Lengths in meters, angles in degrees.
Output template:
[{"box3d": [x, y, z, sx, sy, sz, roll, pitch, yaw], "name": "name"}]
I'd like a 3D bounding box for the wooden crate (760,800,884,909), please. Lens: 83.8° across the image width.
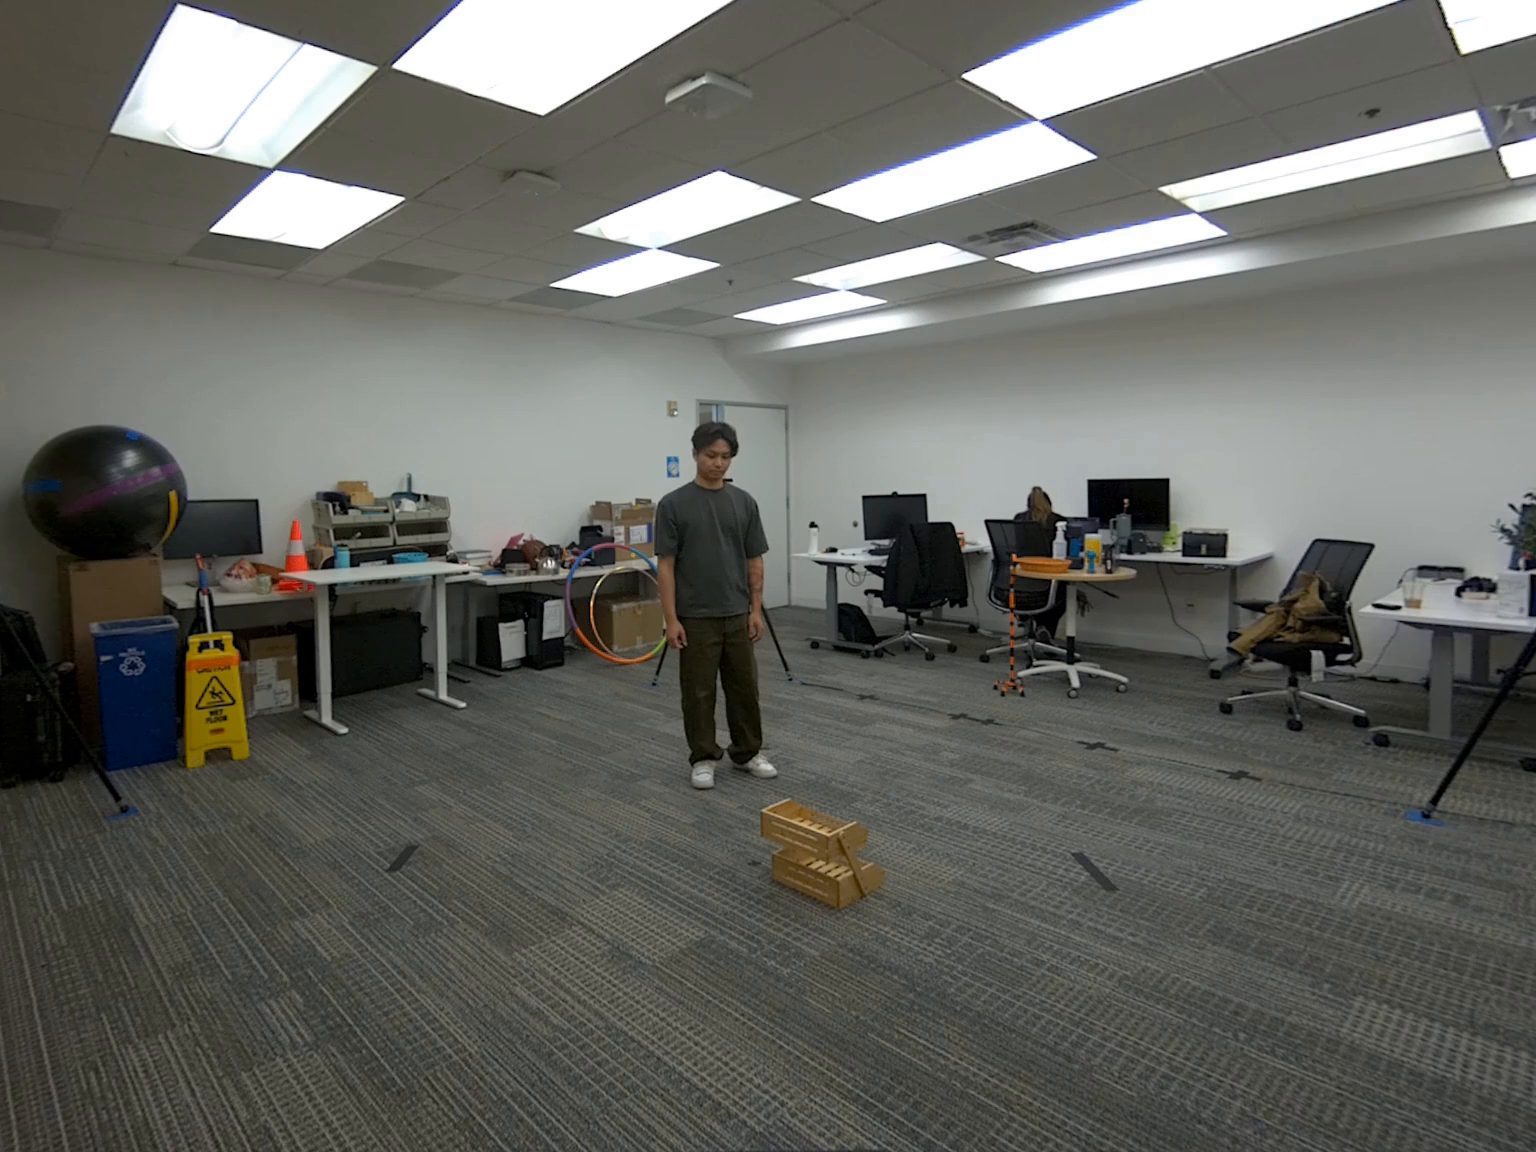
[{"box3d": [0.196, 0.929, 2.931, 0.294, 0.272, 0.334, -6, 7, -44], "name": "wooden crate"}]
